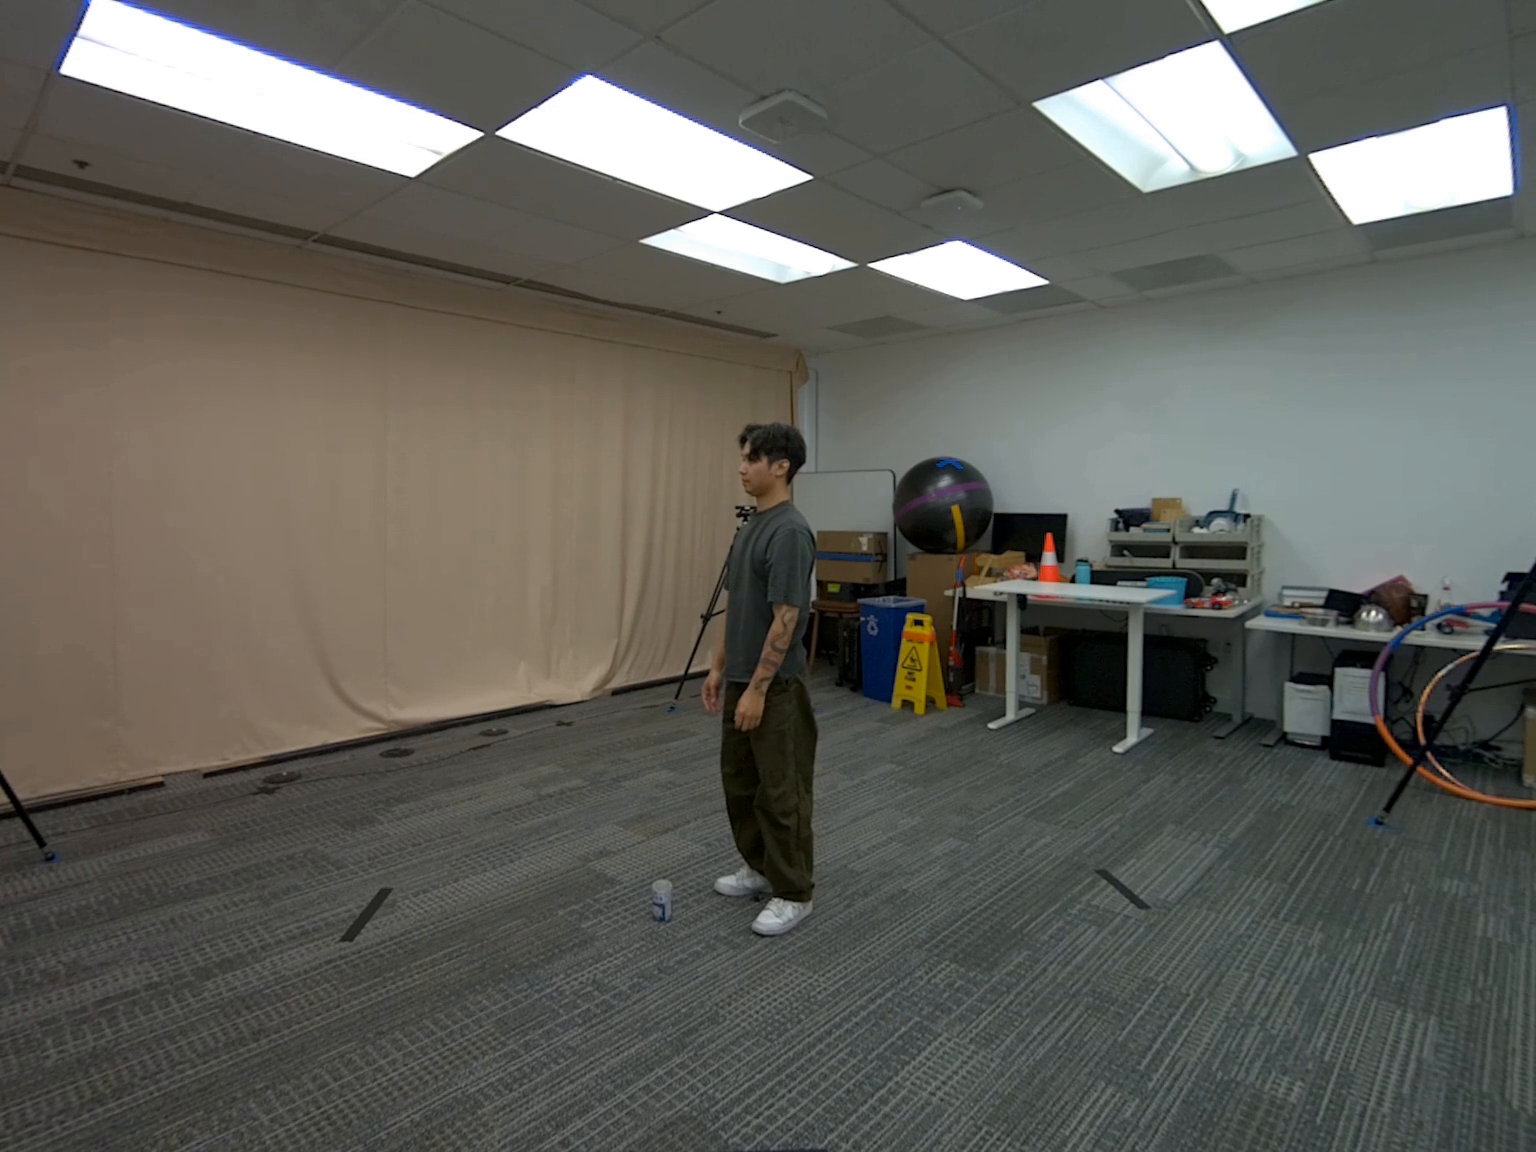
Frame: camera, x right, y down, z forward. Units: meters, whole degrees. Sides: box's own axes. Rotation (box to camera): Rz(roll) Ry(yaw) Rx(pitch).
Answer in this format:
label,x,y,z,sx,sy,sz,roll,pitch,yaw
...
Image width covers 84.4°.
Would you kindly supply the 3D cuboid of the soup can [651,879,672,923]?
label,x,y,z,sx,sy,sz,roll,pitch,yaw
soup can,-0.354,1.105,2.846,0.067,0.121,0.067,-1,3,-2
